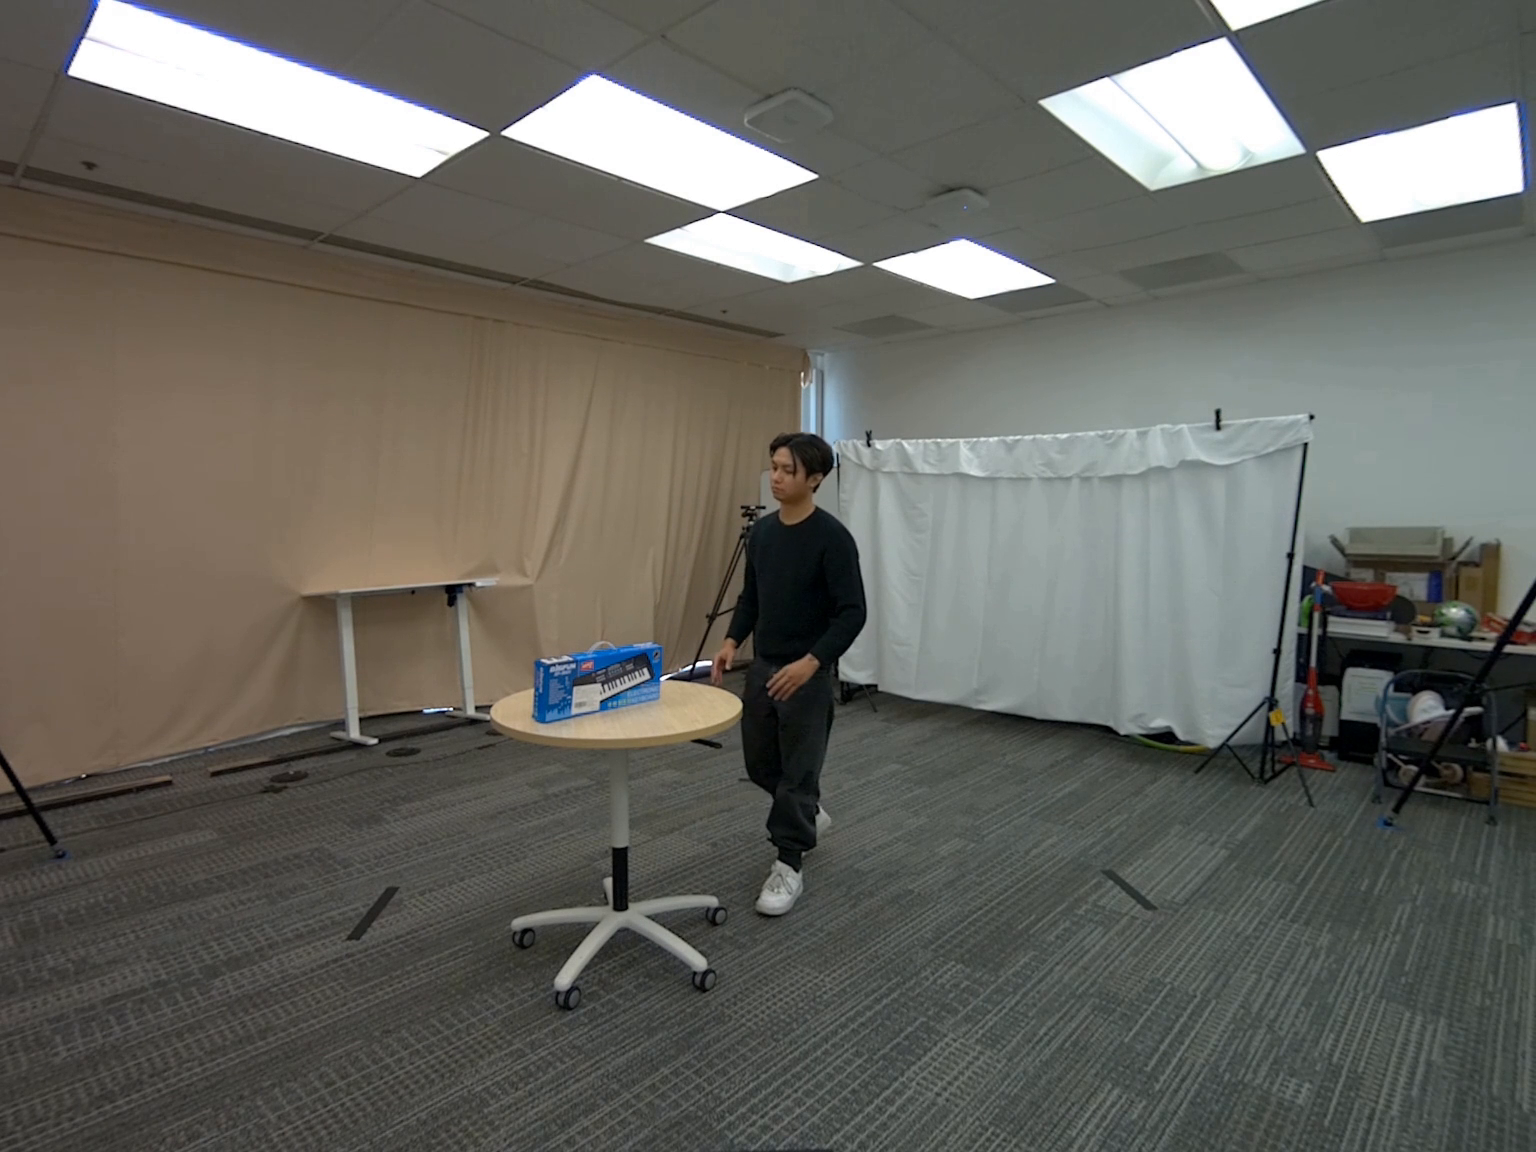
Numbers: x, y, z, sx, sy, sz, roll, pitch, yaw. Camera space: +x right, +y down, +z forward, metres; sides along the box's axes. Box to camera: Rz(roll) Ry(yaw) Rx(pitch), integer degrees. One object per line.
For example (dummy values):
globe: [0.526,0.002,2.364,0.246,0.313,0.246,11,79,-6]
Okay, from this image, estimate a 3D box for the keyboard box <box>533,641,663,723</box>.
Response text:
keyboard box: [-0.501,0.316,2.521,0.061,0.175,0.423,9,9,42]
